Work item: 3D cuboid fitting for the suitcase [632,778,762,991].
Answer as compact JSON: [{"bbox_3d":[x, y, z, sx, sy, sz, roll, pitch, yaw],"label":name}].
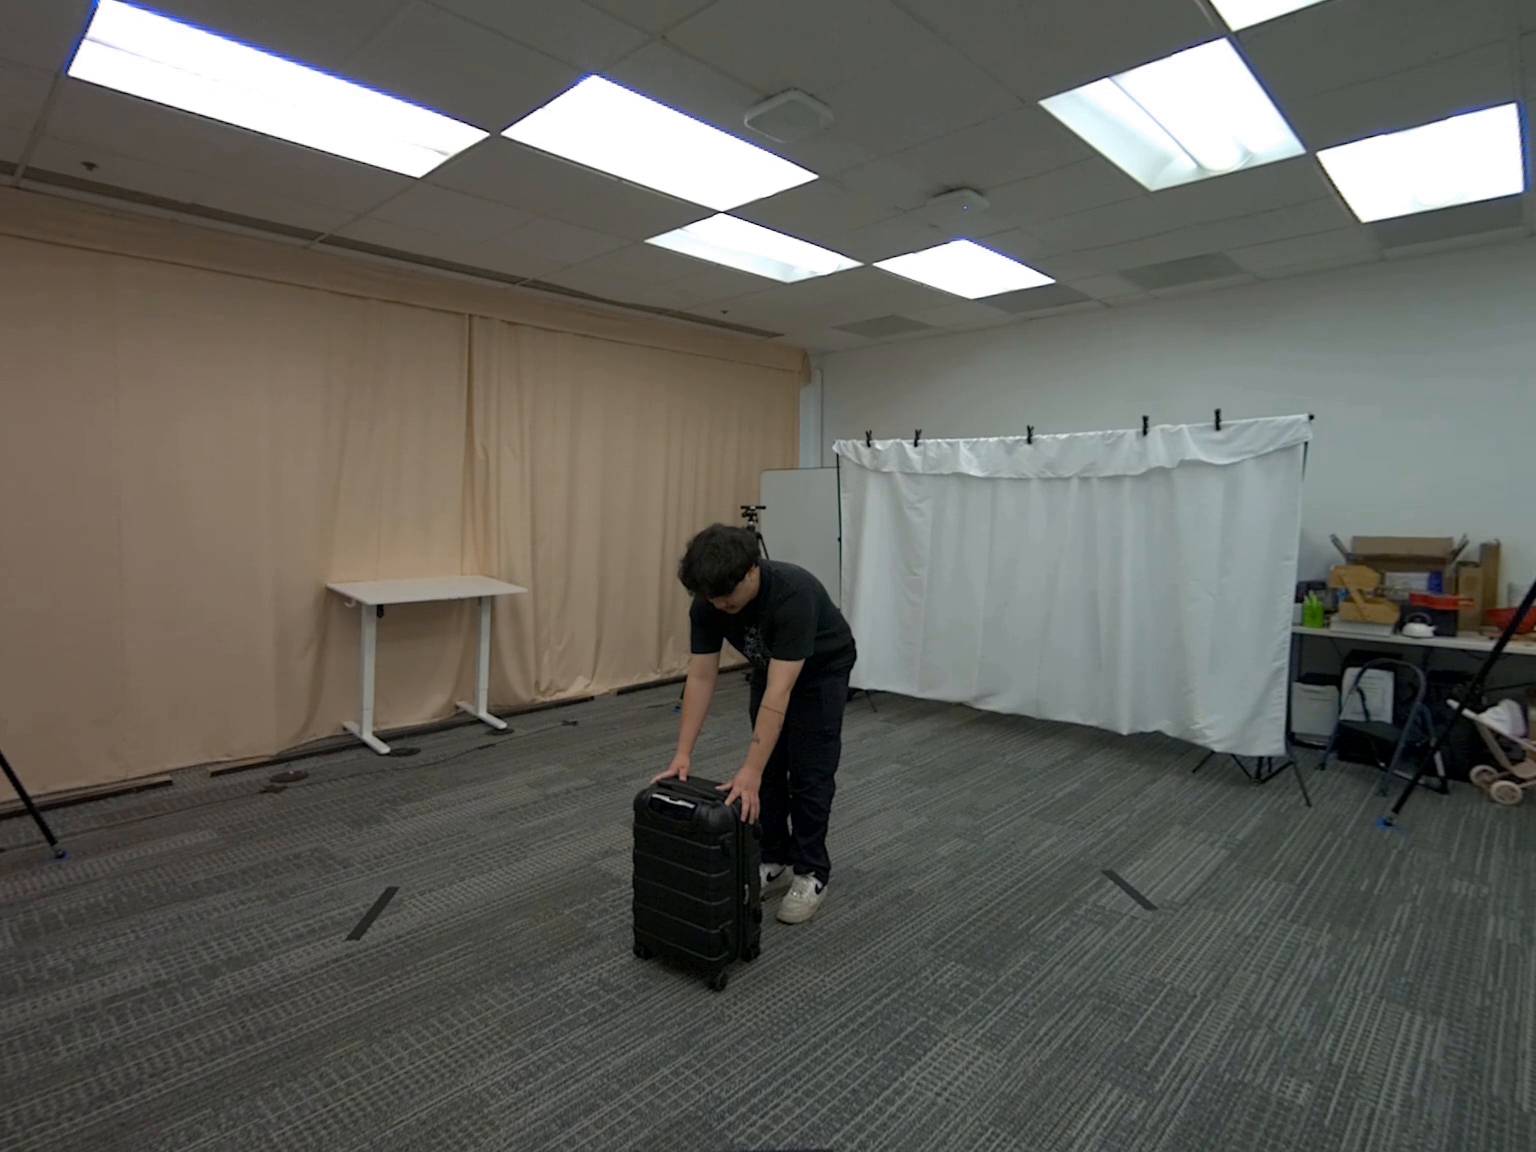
[{"bbox_3d":[-0.222,0.908,2.567,0.387,0.548,0.241,2,5,35],"label":"suitcase"}]
